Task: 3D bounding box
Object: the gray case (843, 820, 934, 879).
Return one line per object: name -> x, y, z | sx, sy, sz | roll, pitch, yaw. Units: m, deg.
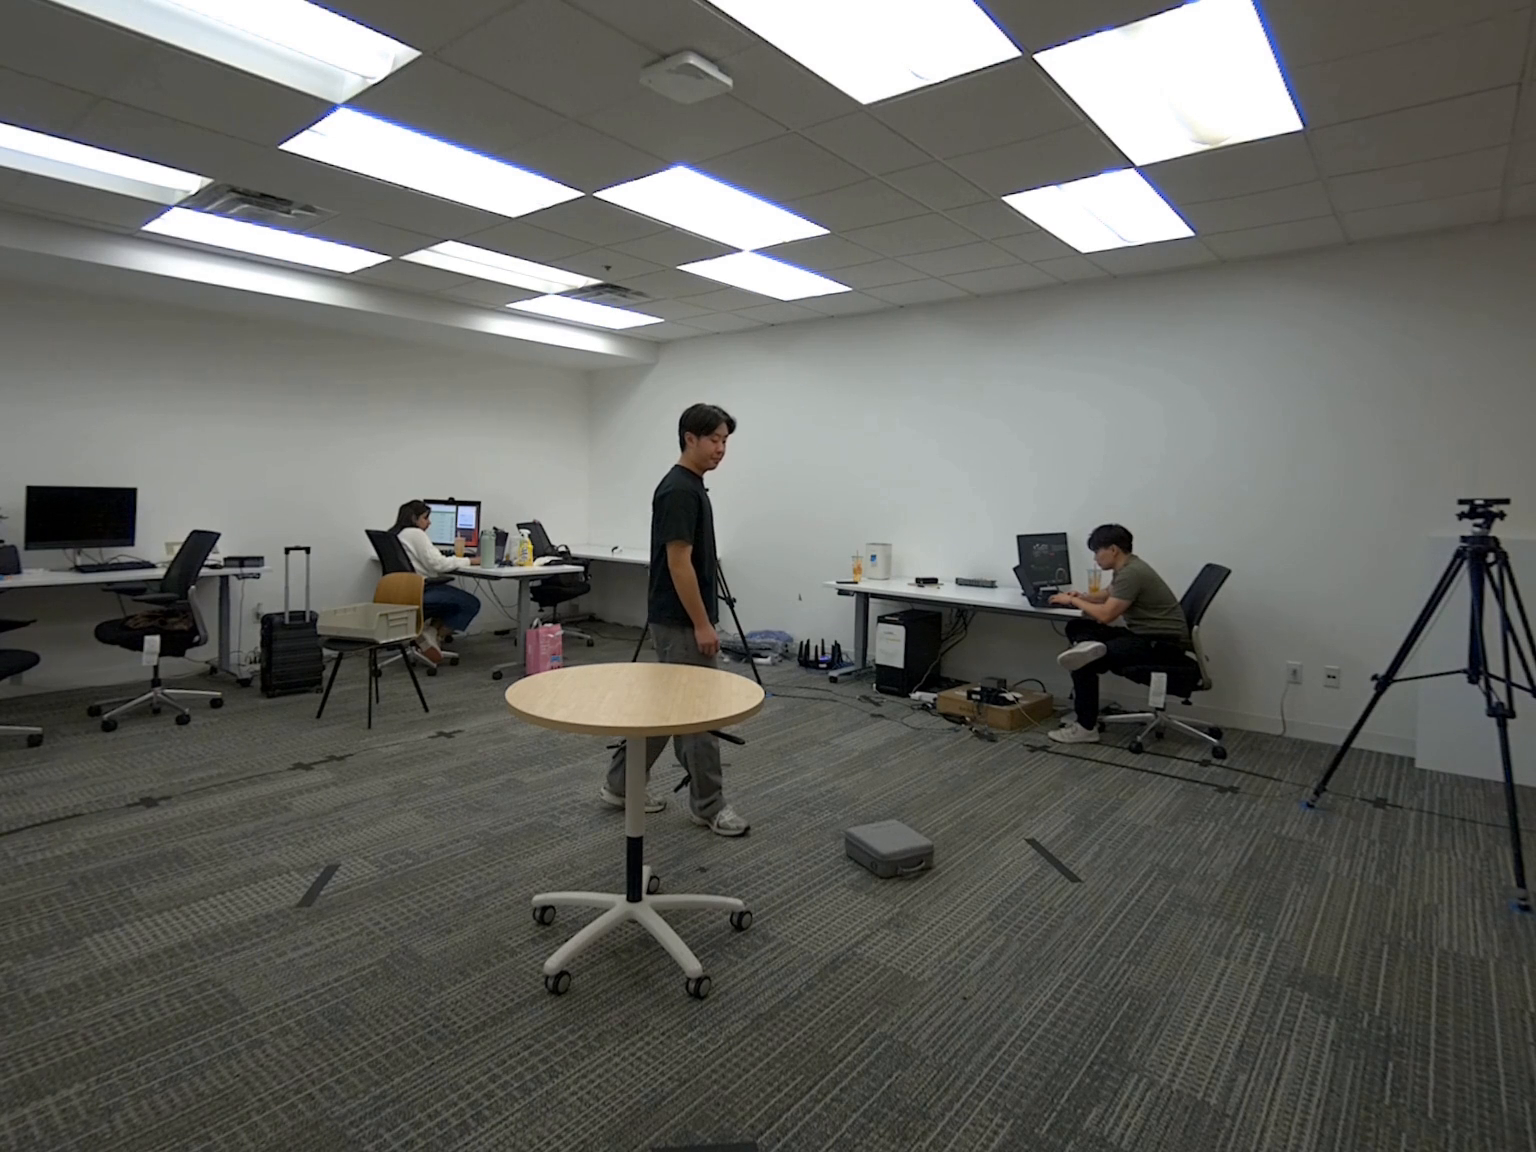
gray case -> 0.455, 1.019, 3.202 | 0.257, 0.102, 0.296 | -3, 7, -28
